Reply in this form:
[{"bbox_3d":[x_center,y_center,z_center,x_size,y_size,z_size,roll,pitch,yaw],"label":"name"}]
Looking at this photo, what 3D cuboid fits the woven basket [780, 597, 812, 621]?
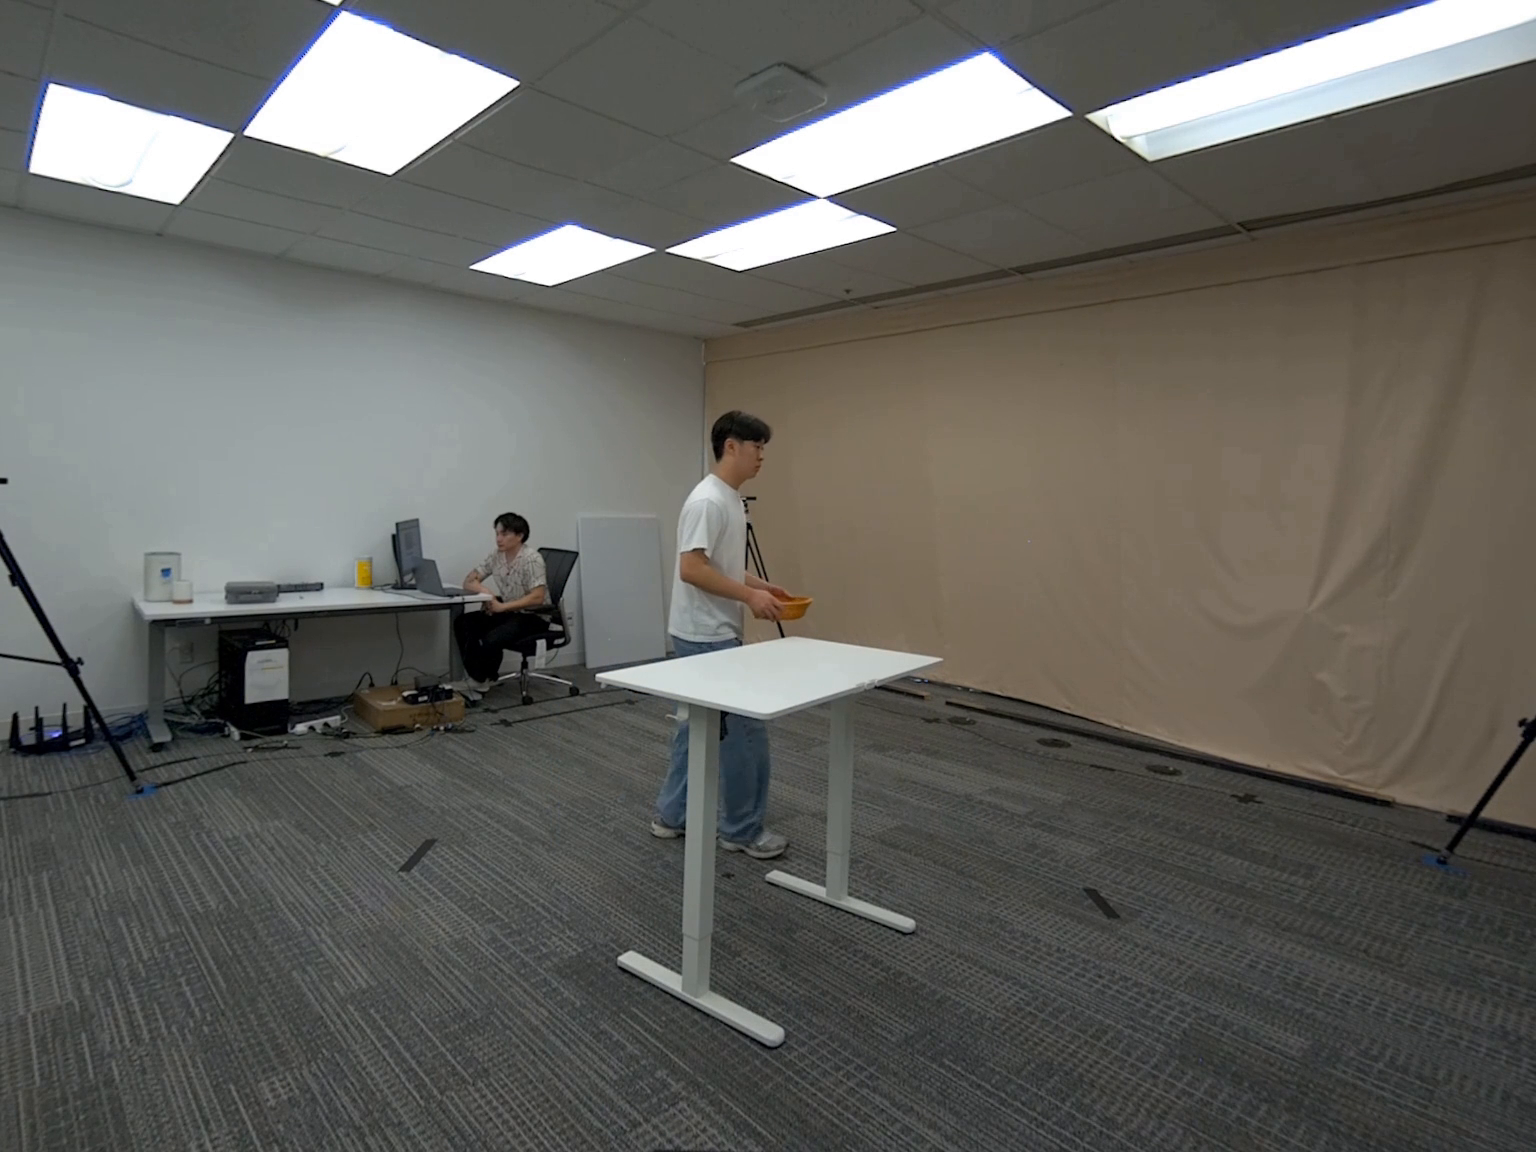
[{"bbox_3d":[-0.003,0.127,3.344,0.257,0.073,0.345,2,3,23],"label":"woven basket"}]
